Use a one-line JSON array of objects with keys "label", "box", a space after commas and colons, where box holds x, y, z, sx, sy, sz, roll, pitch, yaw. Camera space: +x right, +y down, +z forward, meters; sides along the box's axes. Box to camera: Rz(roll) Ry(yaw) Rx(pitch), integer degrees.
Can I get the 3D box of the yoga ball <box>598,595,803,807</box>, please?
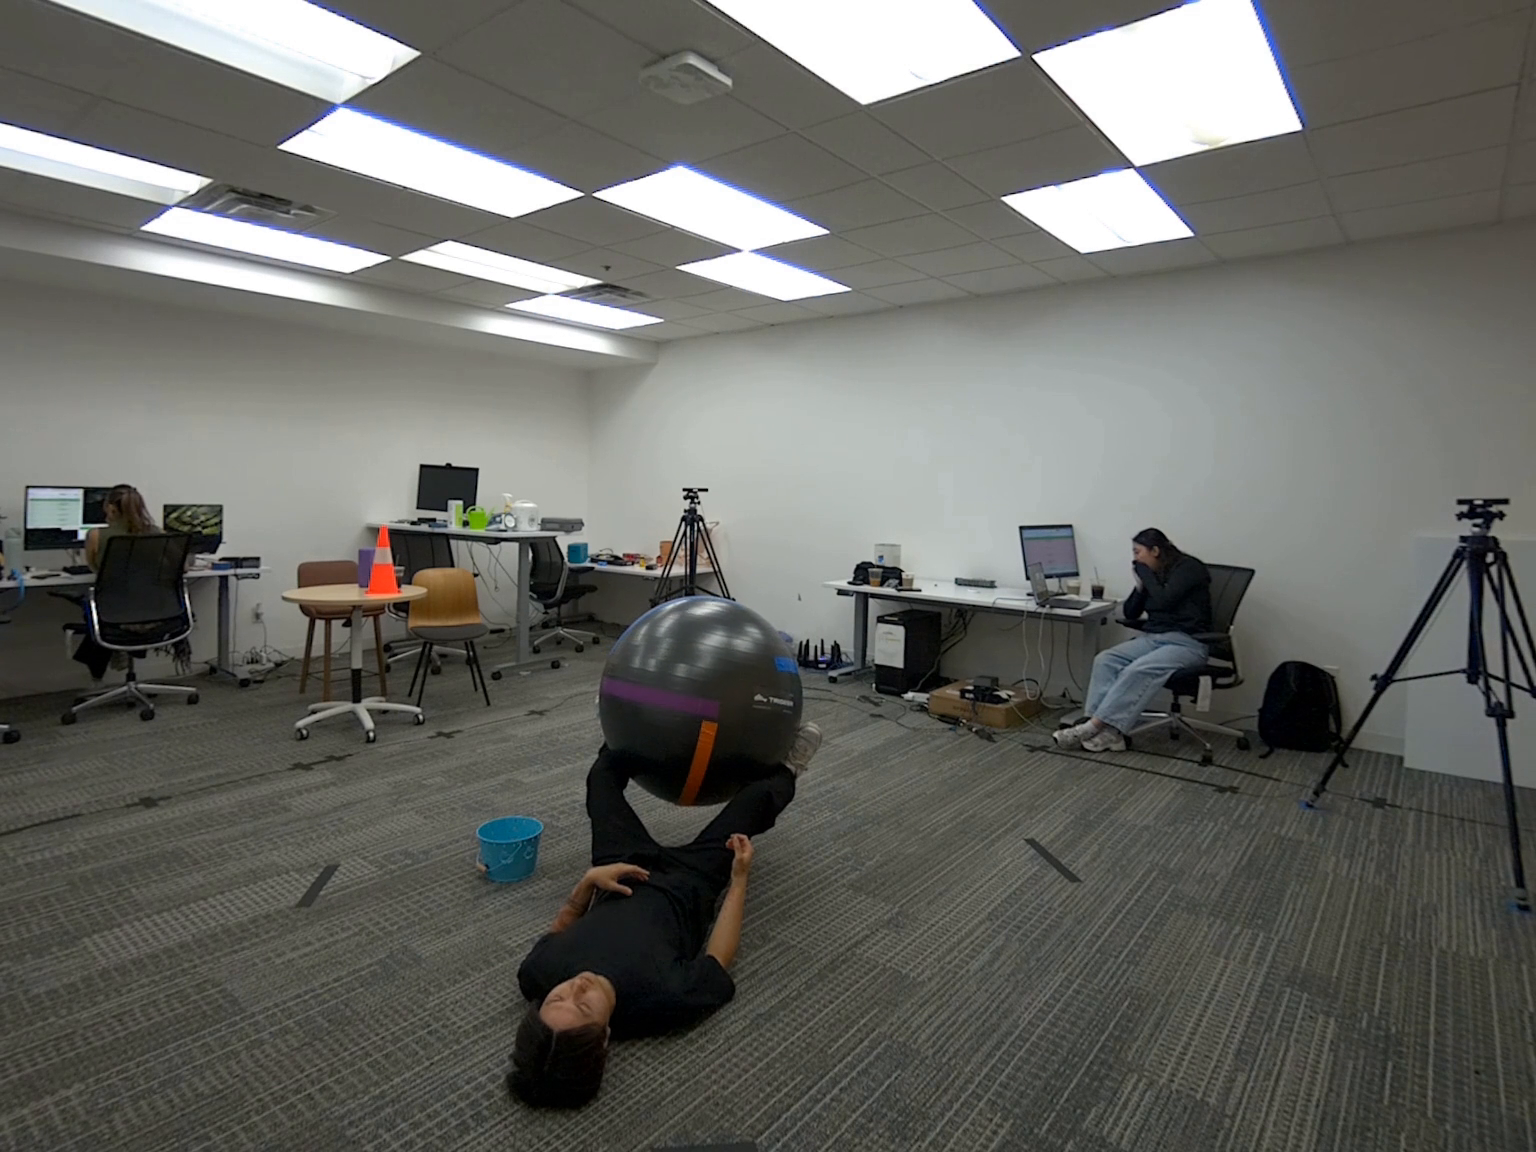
[{"label": "yoga ball", "box": [-0.260, 0.454, 3.156, 0.757, 0.755, 0.762, 1, 4, -2]}]
